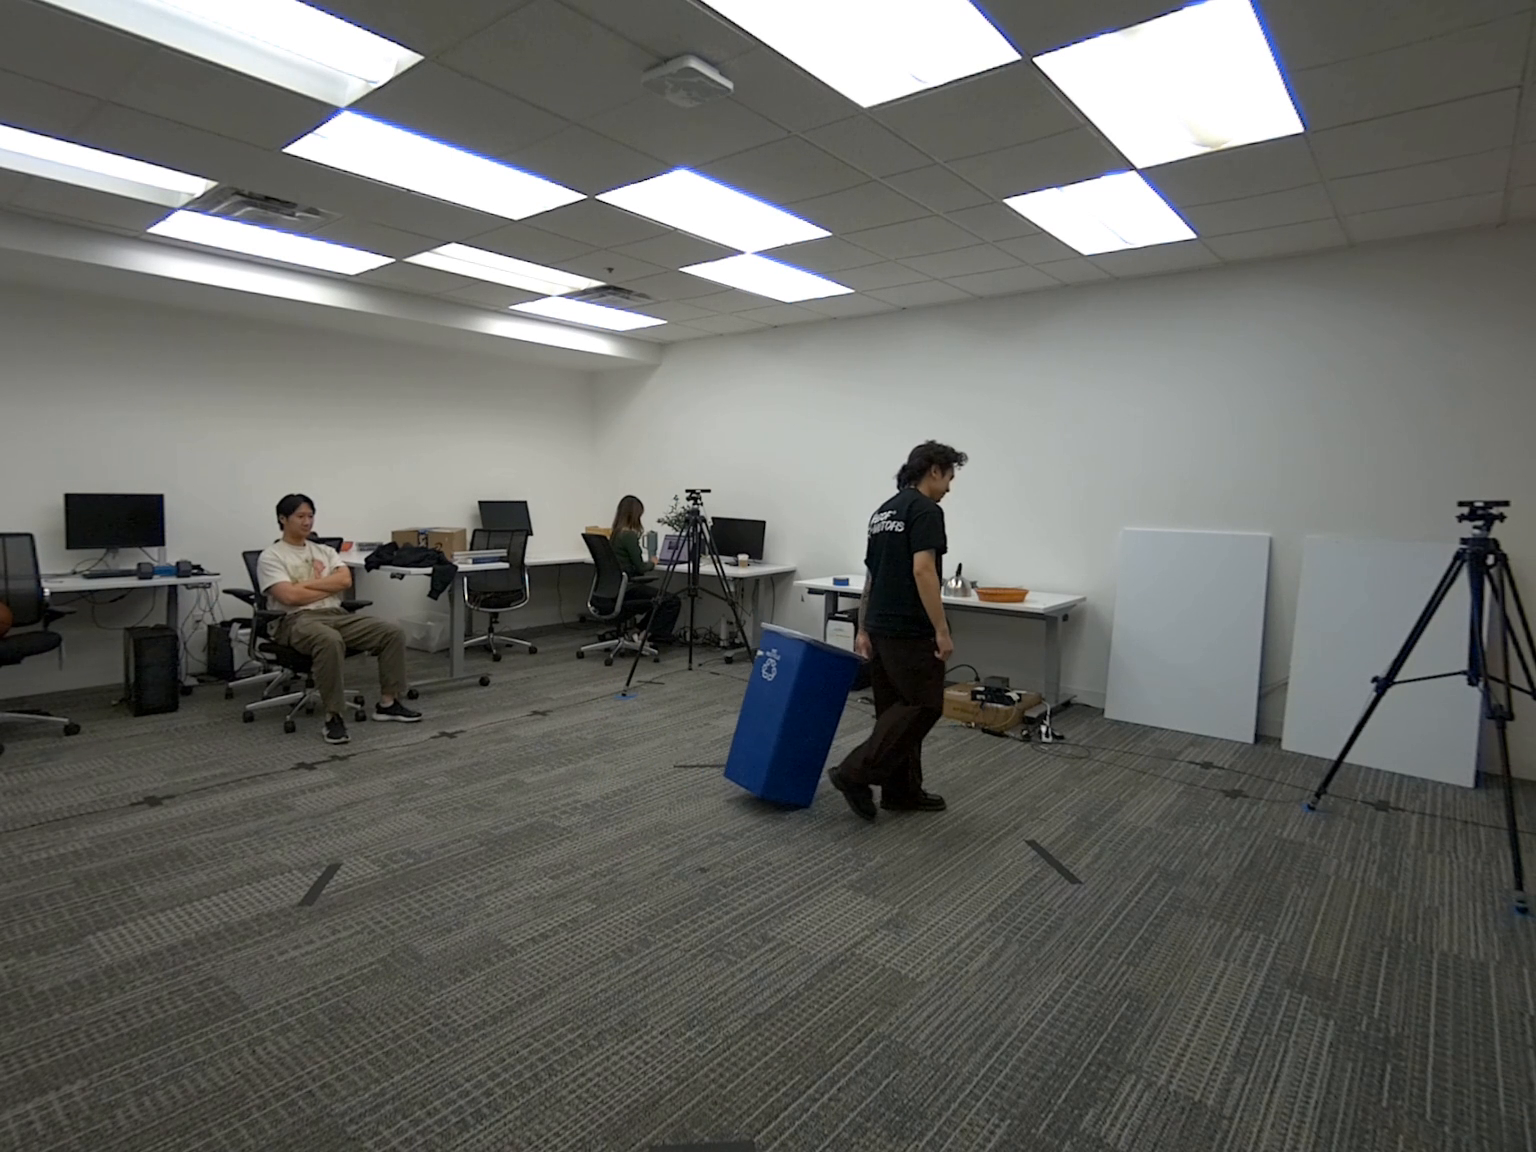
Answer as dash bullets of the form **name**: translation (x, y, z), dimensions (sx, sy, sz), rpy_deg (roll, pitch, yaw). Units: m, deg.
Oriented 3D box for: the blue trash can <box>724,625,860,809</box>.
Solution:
- **blue trash can**: translation (0.091, 0.623, 3.839), dimensions (0.364, 0.716, 0.386), rpy_deg (21, -8, -34)
